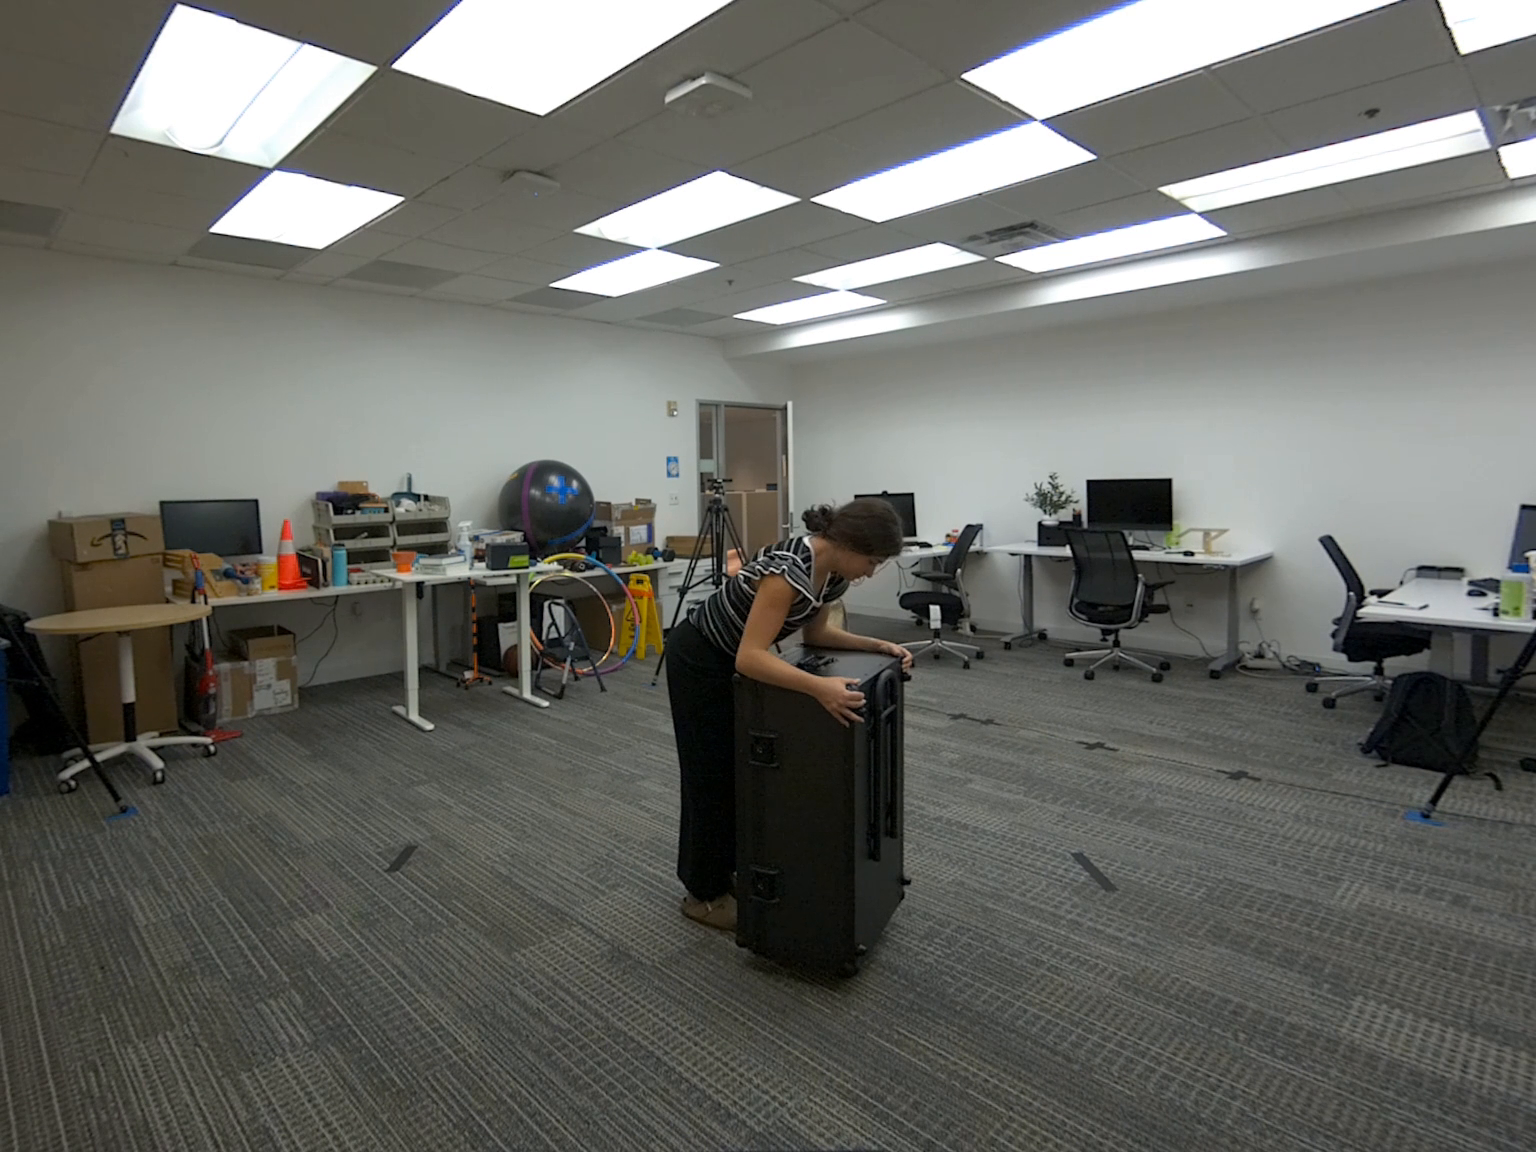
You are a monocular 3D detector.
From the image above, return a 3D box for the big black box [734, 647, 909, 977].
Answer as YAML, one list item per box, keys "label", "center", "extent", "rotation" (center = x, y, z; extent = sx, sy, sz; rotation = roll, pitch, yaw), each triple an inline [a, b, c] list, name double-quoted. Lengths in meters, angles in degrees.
- label: "big black box"
  center: [0.189, 0.696, 2.533]
  extent: [0.405, 0.858, 0.511]
  rotation: [2, 5, 24]
